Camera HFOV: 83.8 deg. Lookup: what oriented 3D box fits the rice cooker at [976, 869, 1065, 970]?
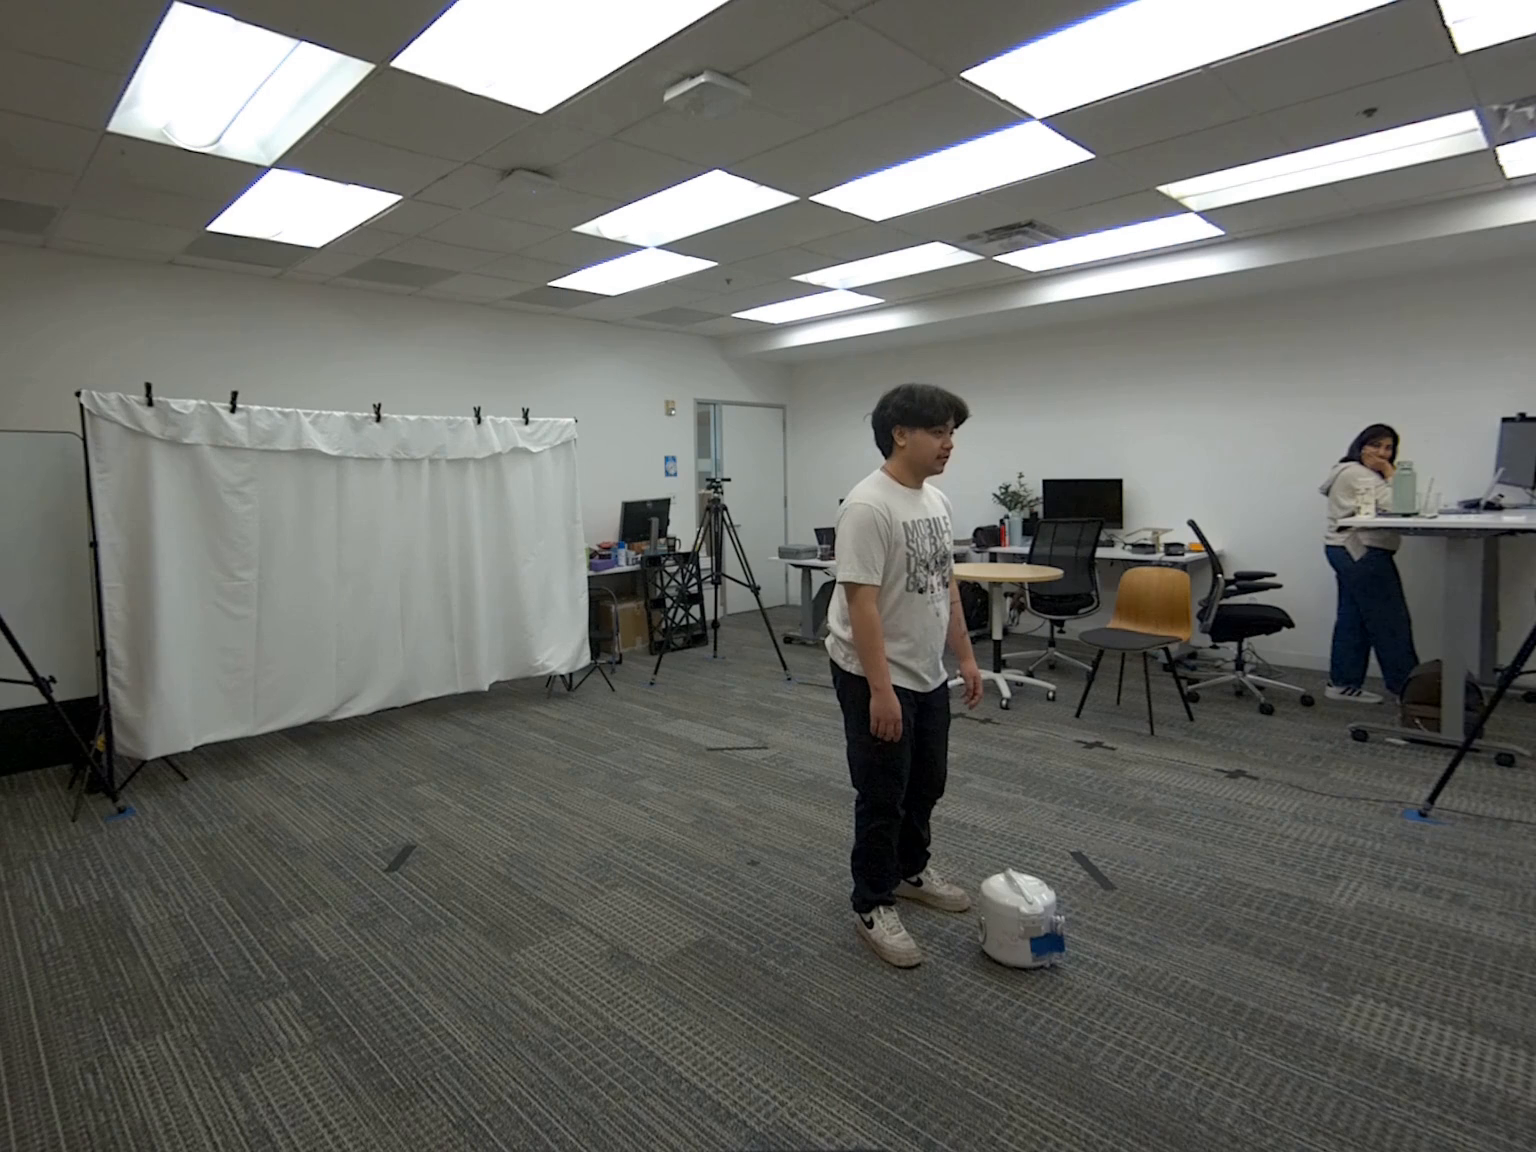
[{"bbox_3d":[0.725,0.980,2.478,0.217,0.232,0.222,0,5,-3],"label":"rice cooker"}]
